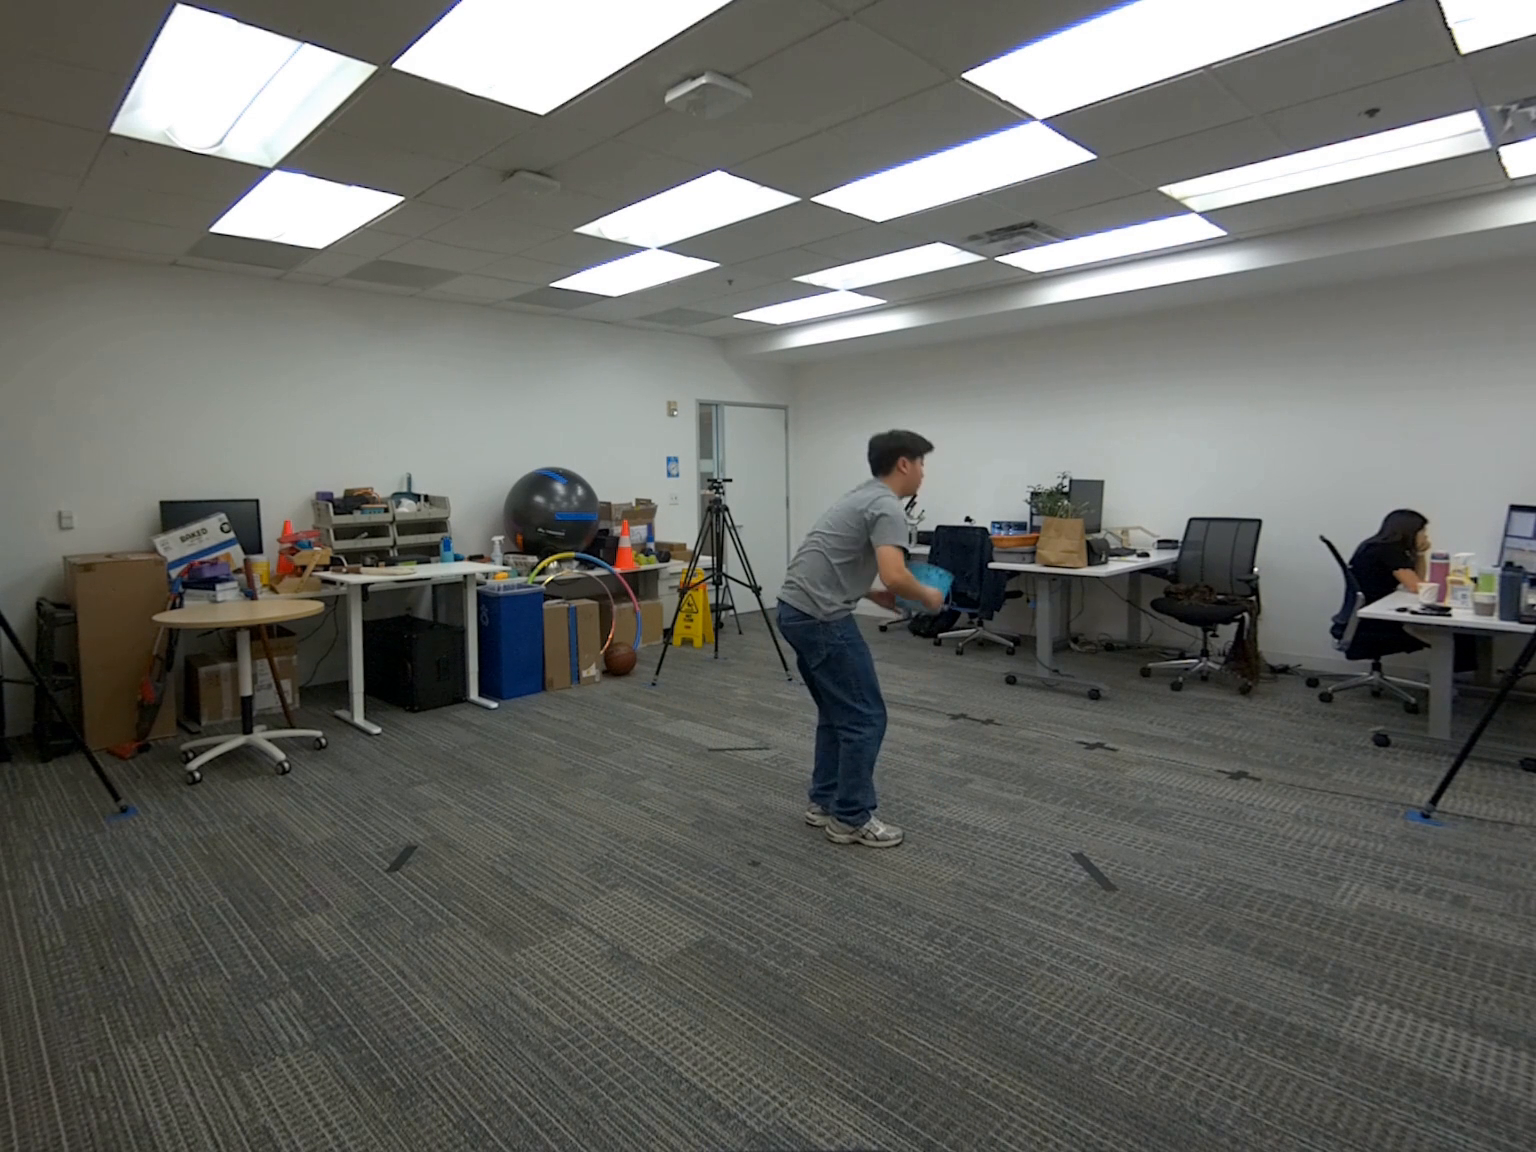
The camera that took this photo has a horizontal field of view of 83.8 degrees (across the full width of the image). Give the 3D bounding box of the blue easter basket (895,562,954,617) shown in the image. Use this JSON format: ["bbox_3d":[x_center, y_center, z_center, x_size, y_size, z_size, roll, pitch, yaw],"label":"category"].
[{"bbox_3d":[0.639,0.021,3.458,0.244,0.157,0.240,11,-14,1],"label":"blue easter basket"}]
